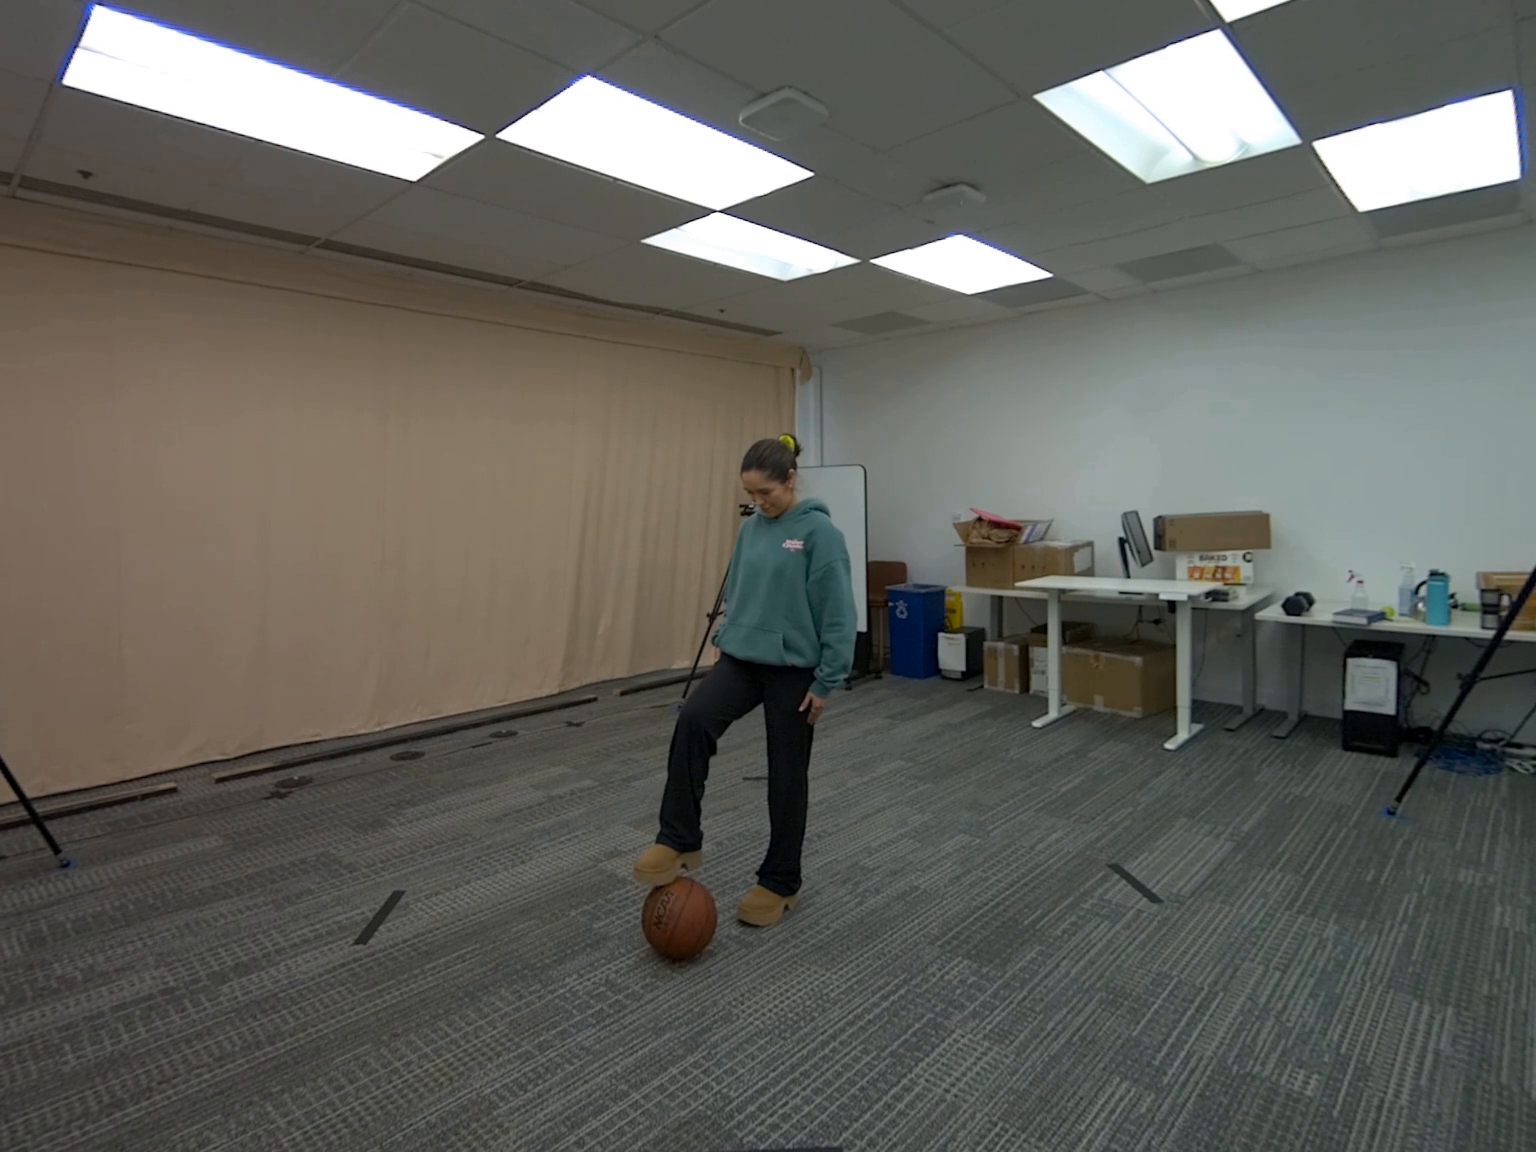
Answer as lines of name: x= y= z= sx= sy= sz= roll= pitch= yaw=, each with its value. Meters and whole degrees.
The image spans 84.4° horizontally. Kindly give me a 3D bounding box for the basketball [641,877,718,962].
basketball: x=-0.265 y=1.055 z=2.609 sx=0.236 sy=0.235 sz=0.237 roll=-1 pitch=4 yaw=-2
